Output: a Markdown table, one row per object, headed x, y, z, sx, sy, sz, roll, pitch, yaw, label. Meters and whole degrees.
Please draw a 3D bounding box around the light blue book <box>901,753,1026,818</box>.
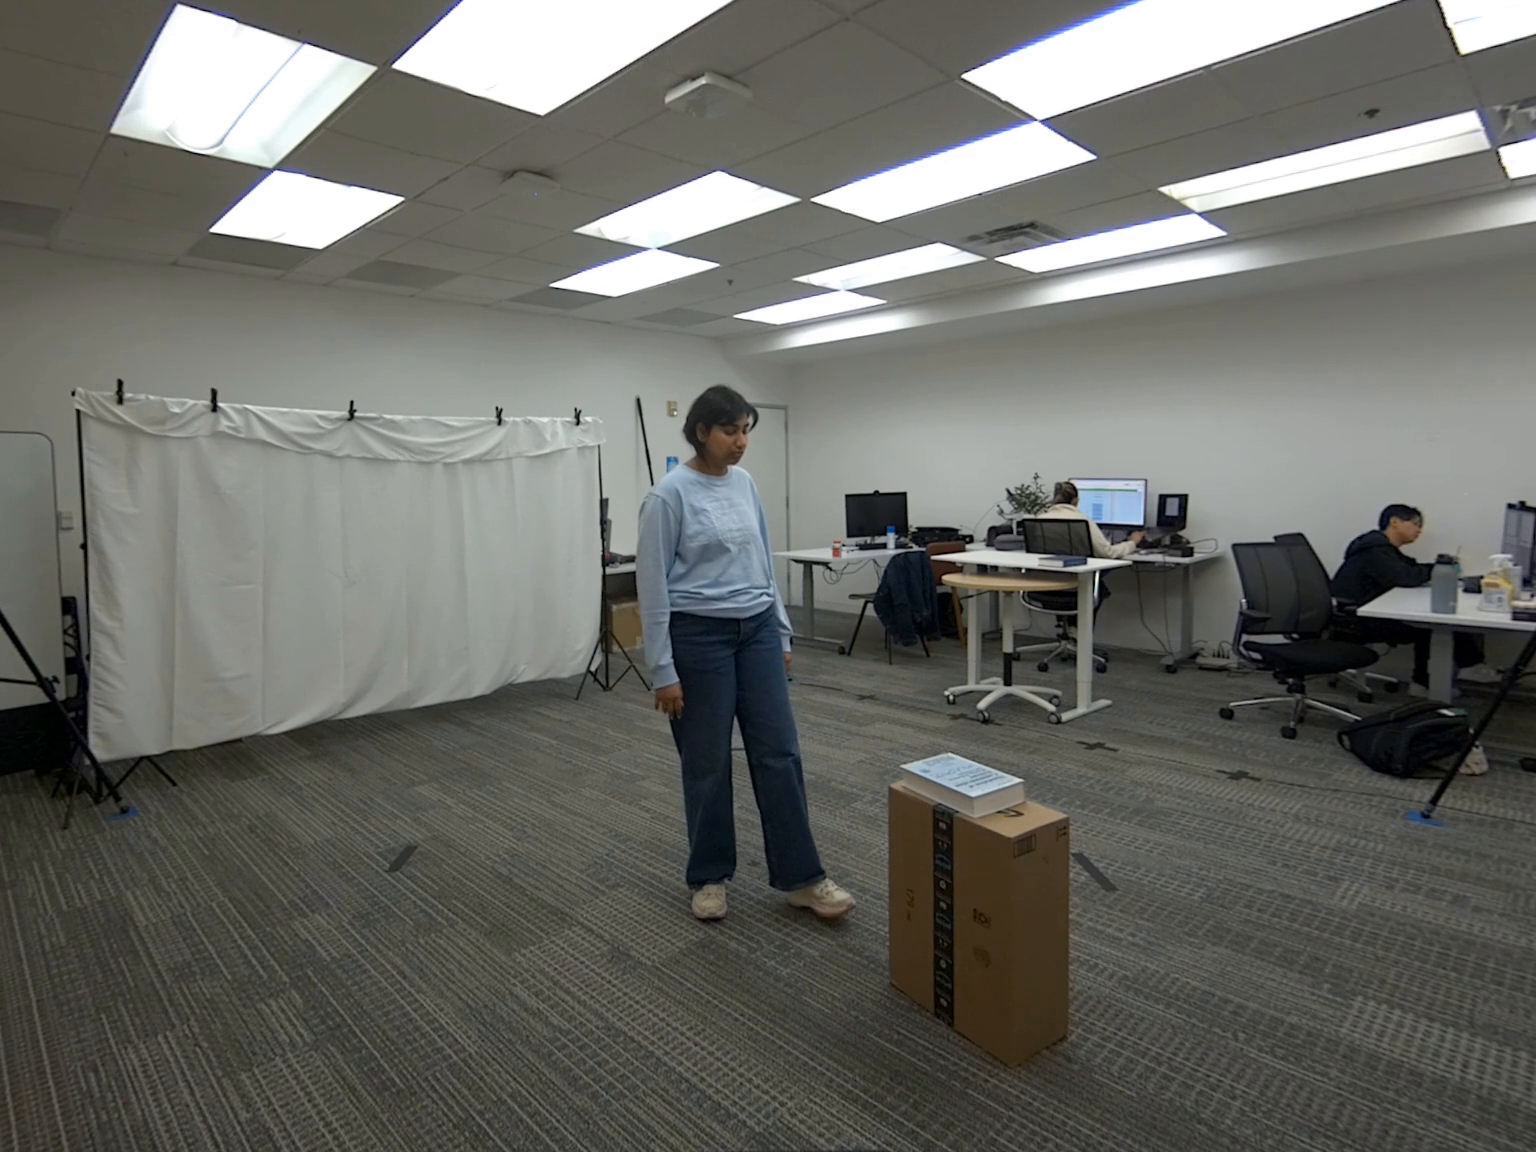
| x | y | z | sx | sy | sz | roll | pitch | yaw | label |
| --- | --- | --- | --- | --- | --- | --- | --- | --- | --- |
| 0.500 | 0.543 | 2.236 | 0.187 | 0.059 | 0.268 | -7 | 8 | -31 | light blue book |
